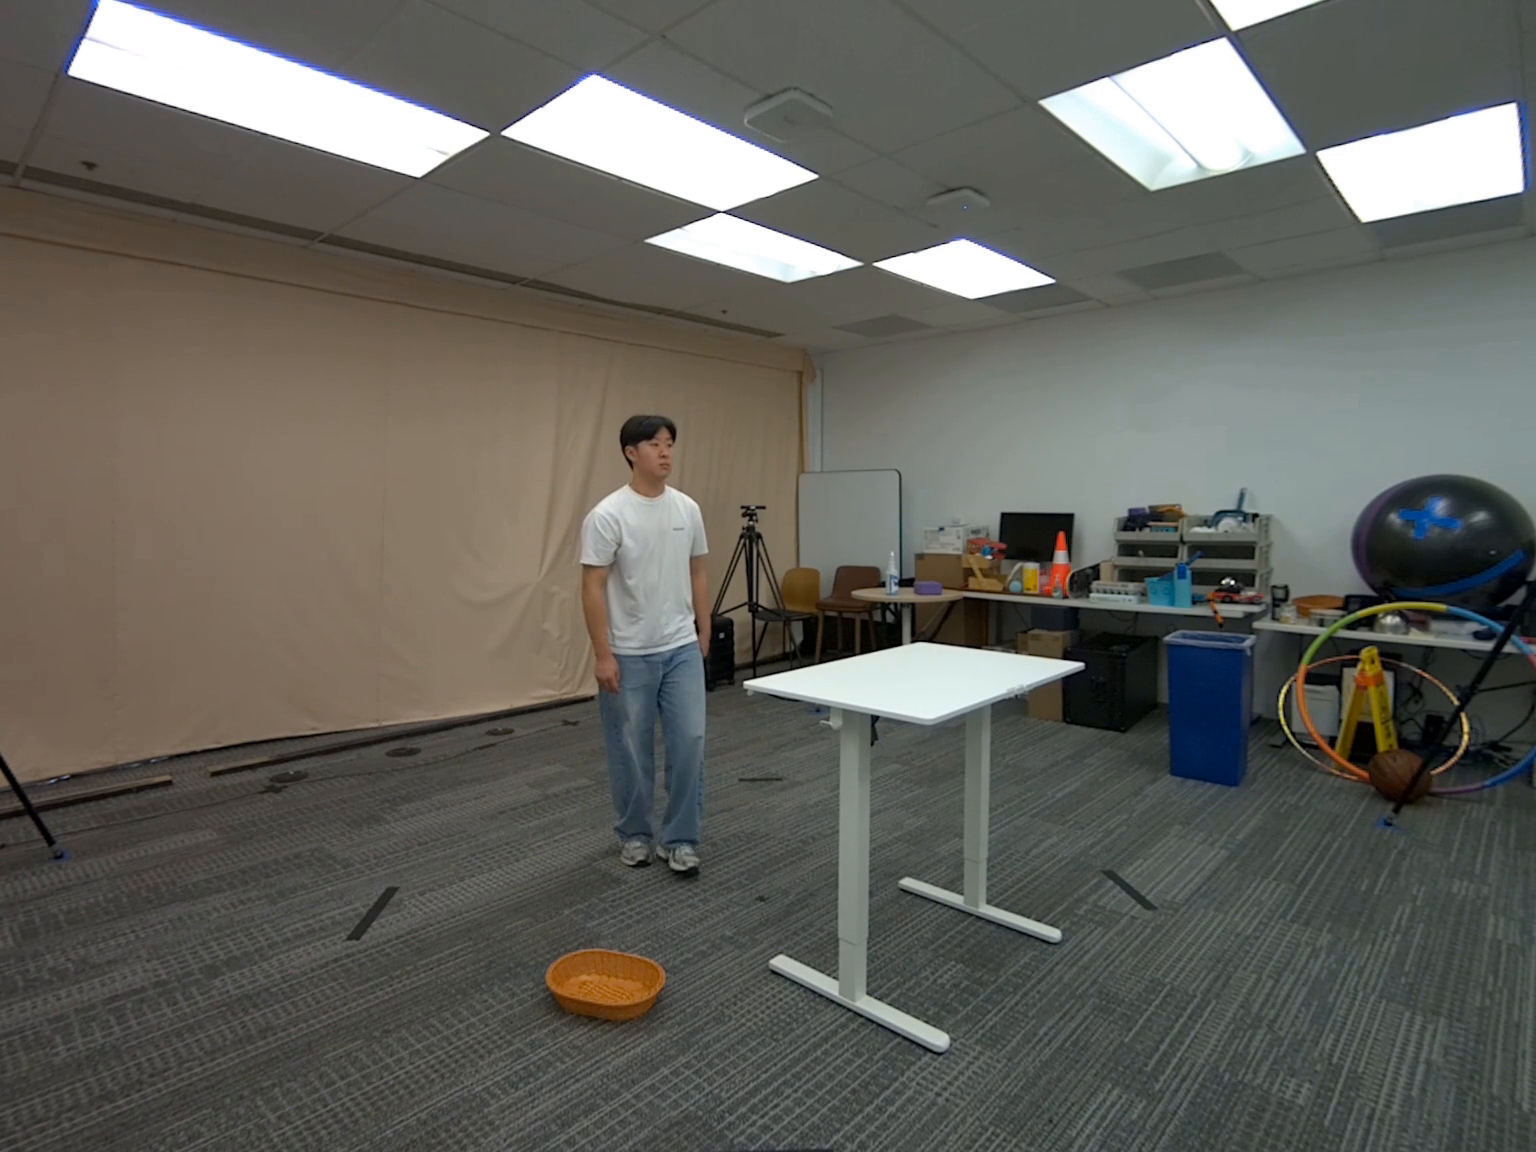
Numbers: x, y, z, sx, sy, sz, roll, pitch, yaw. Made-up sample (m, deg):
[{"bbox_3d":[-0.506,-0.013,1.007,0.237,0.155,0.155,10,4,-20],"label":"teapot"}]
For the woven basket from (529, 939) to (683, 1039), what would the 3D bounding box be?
[{"bbox_3d":[-0.452,1.150,2.383,0.358,0.073,0.248,1,5,19],"label":"woven basket"}]
